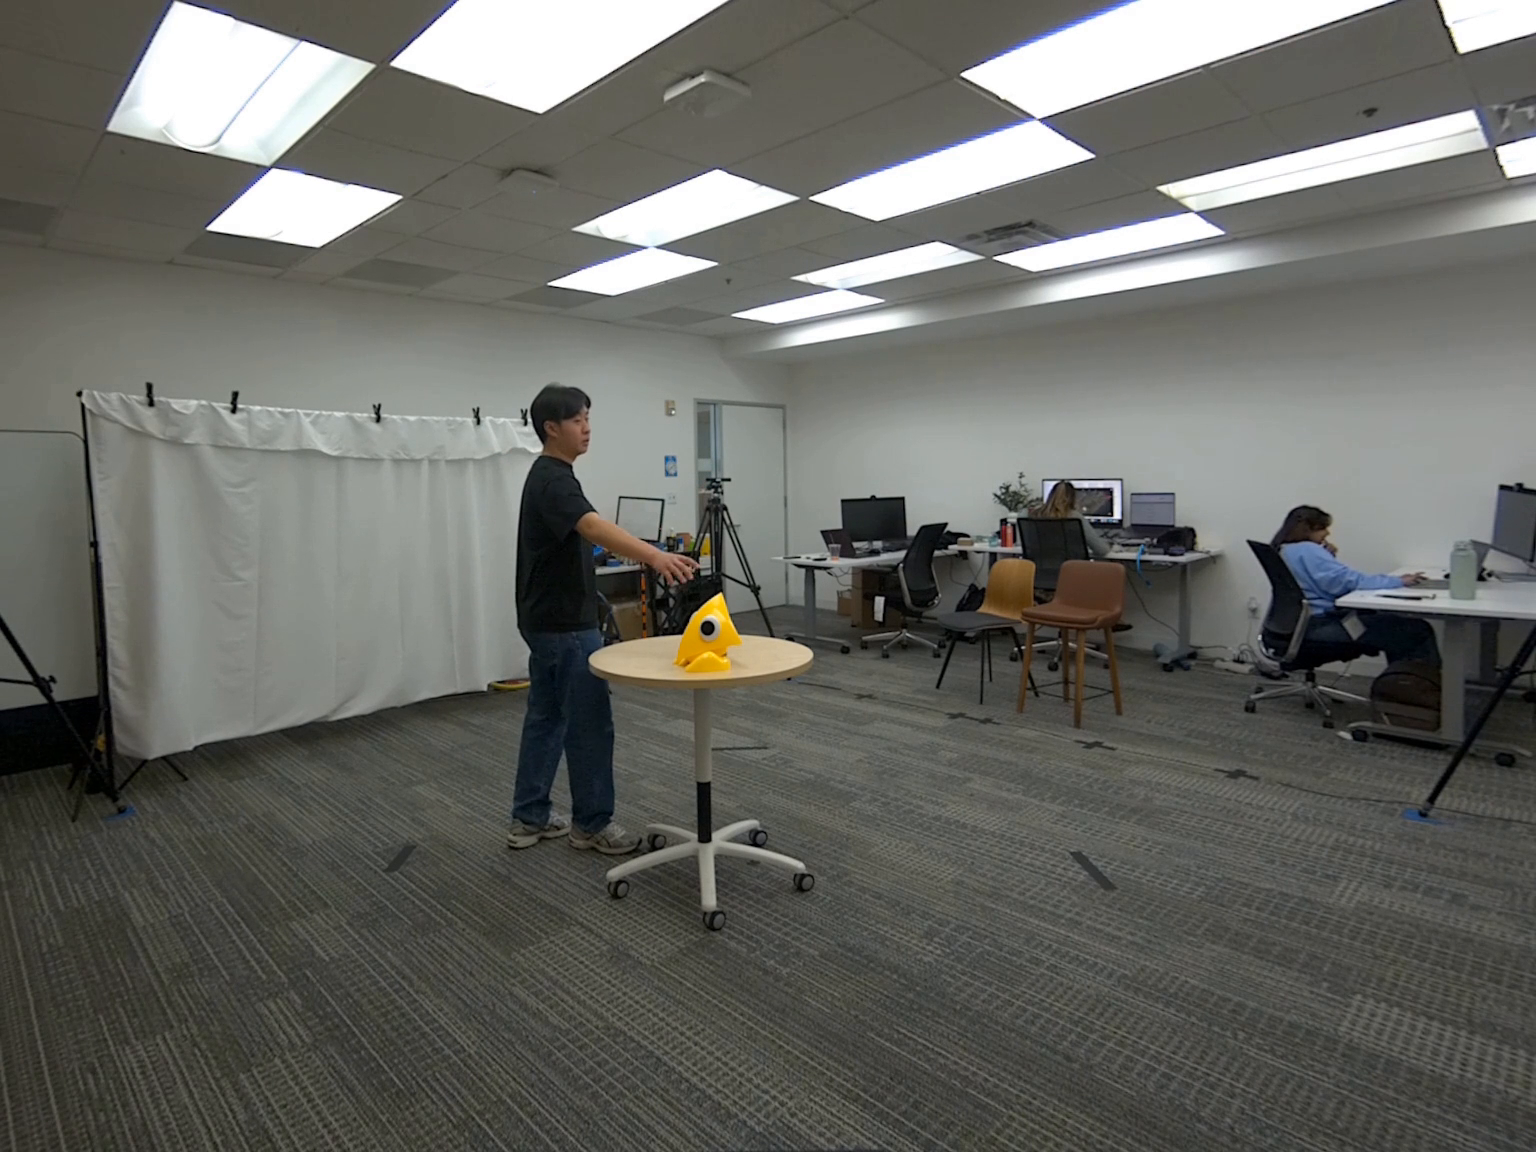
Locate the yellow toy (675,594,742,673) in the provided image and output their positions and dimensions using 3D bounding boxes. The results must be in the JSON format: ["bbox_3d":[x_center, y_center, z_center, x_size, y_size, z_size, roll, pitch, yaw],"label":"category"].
[{"bbox_3d":[-0.199,0.173,2.747,0.189,0.230,0.209,-2,5,-23],"label":"yellow toy"}]
